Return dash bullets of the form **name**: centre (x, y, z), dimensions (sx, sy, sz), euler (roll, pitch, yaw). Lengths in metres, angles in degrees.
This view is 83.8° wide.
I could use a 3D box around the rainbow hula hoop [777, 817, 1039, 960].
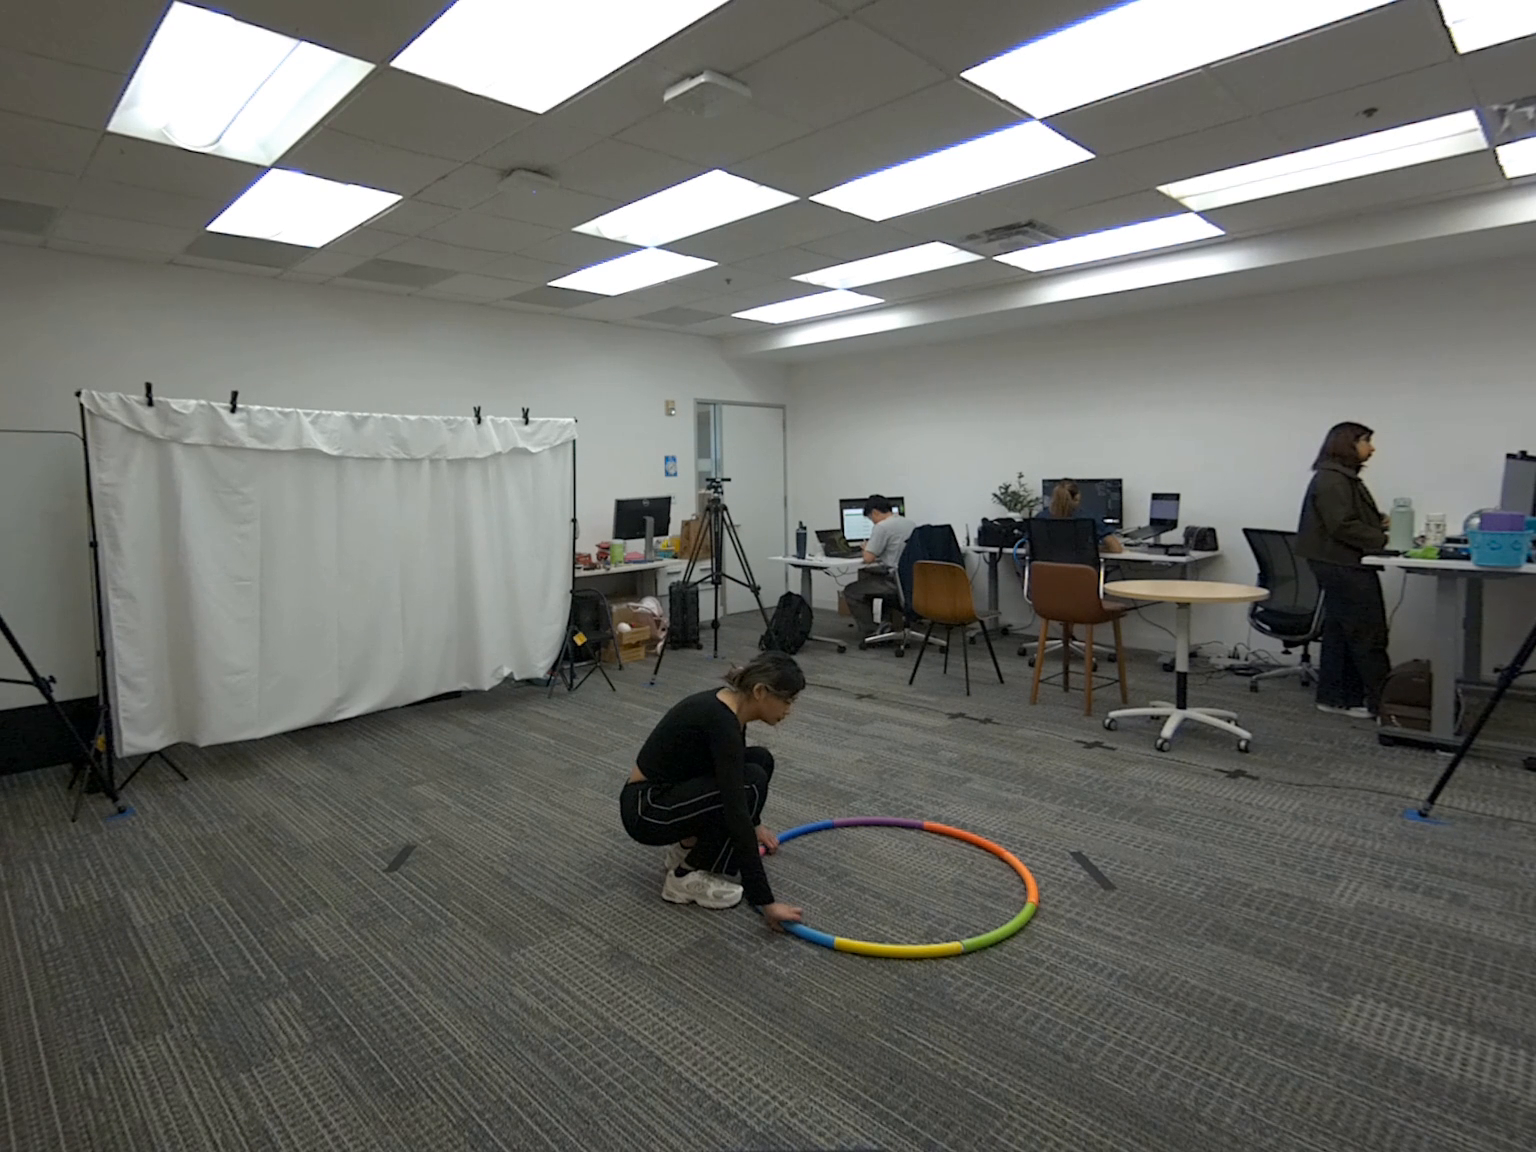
- **rainbow hula hoop**: centre (0.404, 1.020, 2.949), dimensions (0.978, 0.035, 0.984), euler (-2, 7, -1)
